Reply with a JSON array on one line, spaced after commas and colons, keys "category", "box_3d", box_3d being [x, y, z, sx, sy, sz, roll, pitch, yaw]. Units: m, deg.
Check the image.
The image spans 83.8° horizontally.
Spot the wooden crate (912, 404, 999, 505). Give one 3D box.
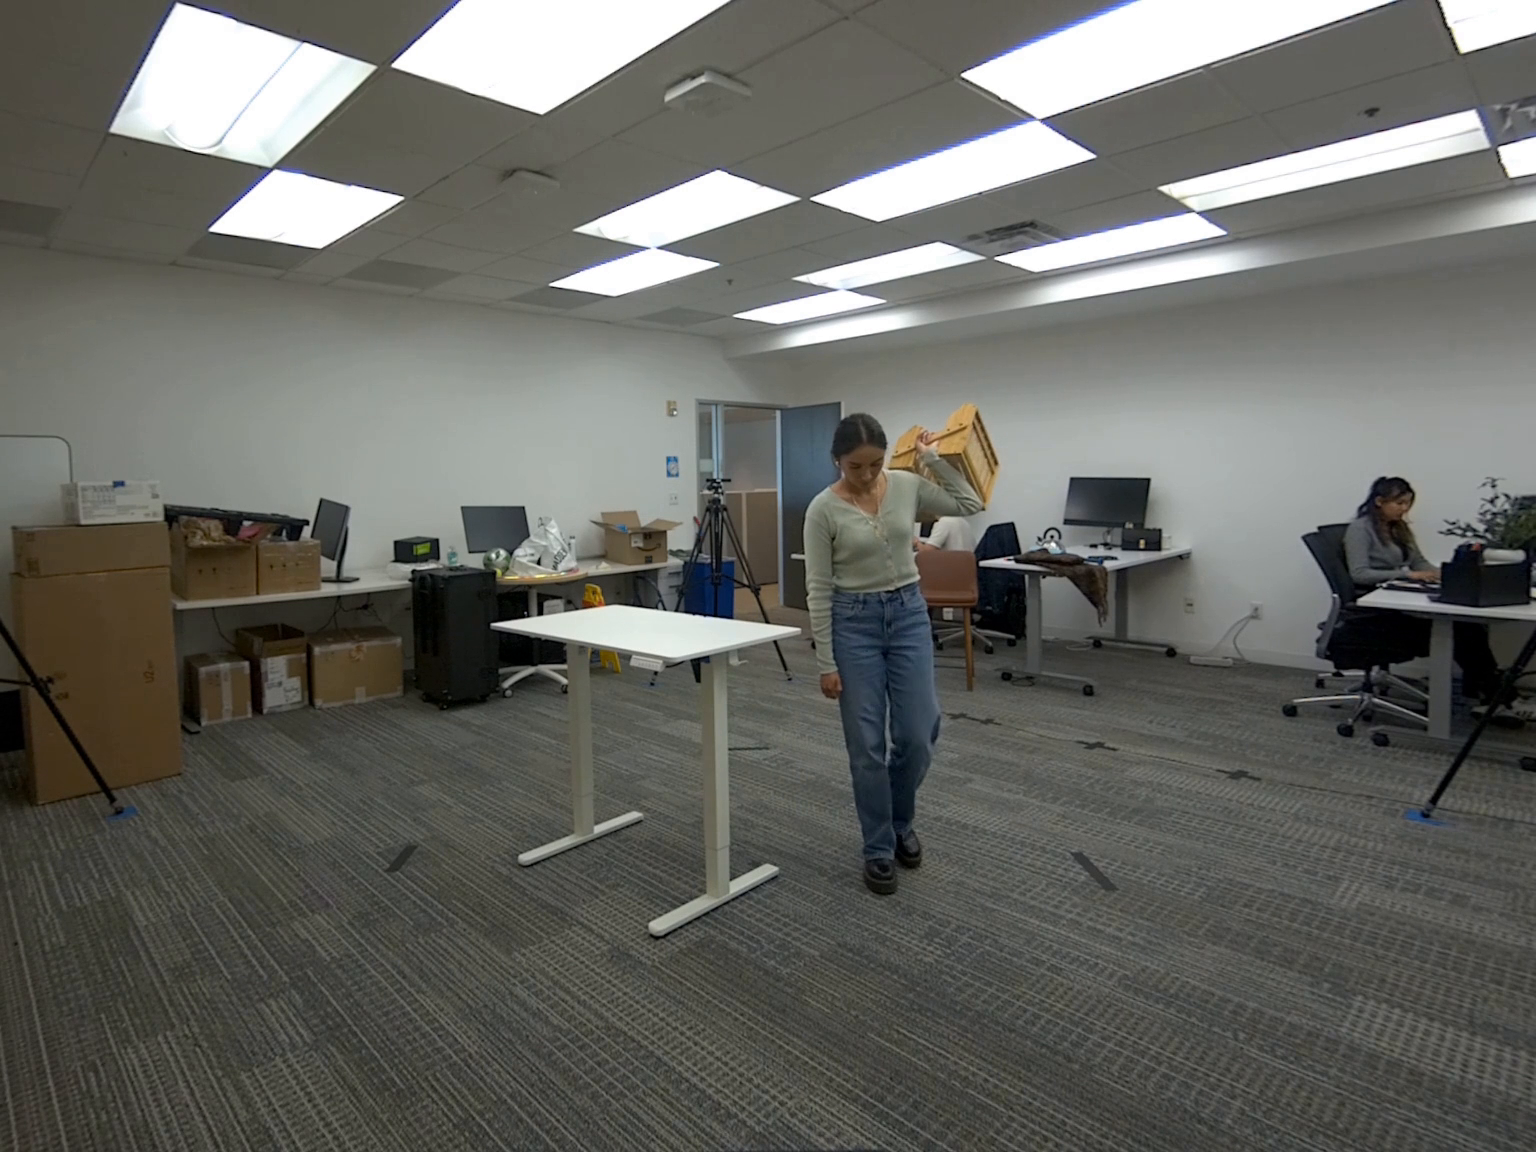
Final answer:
[{"category": "wooden crate", "box_3d": [0.653, -0.408, 3.115, 0.281, 0.305, 0.312, 0, -39, 35]}]
